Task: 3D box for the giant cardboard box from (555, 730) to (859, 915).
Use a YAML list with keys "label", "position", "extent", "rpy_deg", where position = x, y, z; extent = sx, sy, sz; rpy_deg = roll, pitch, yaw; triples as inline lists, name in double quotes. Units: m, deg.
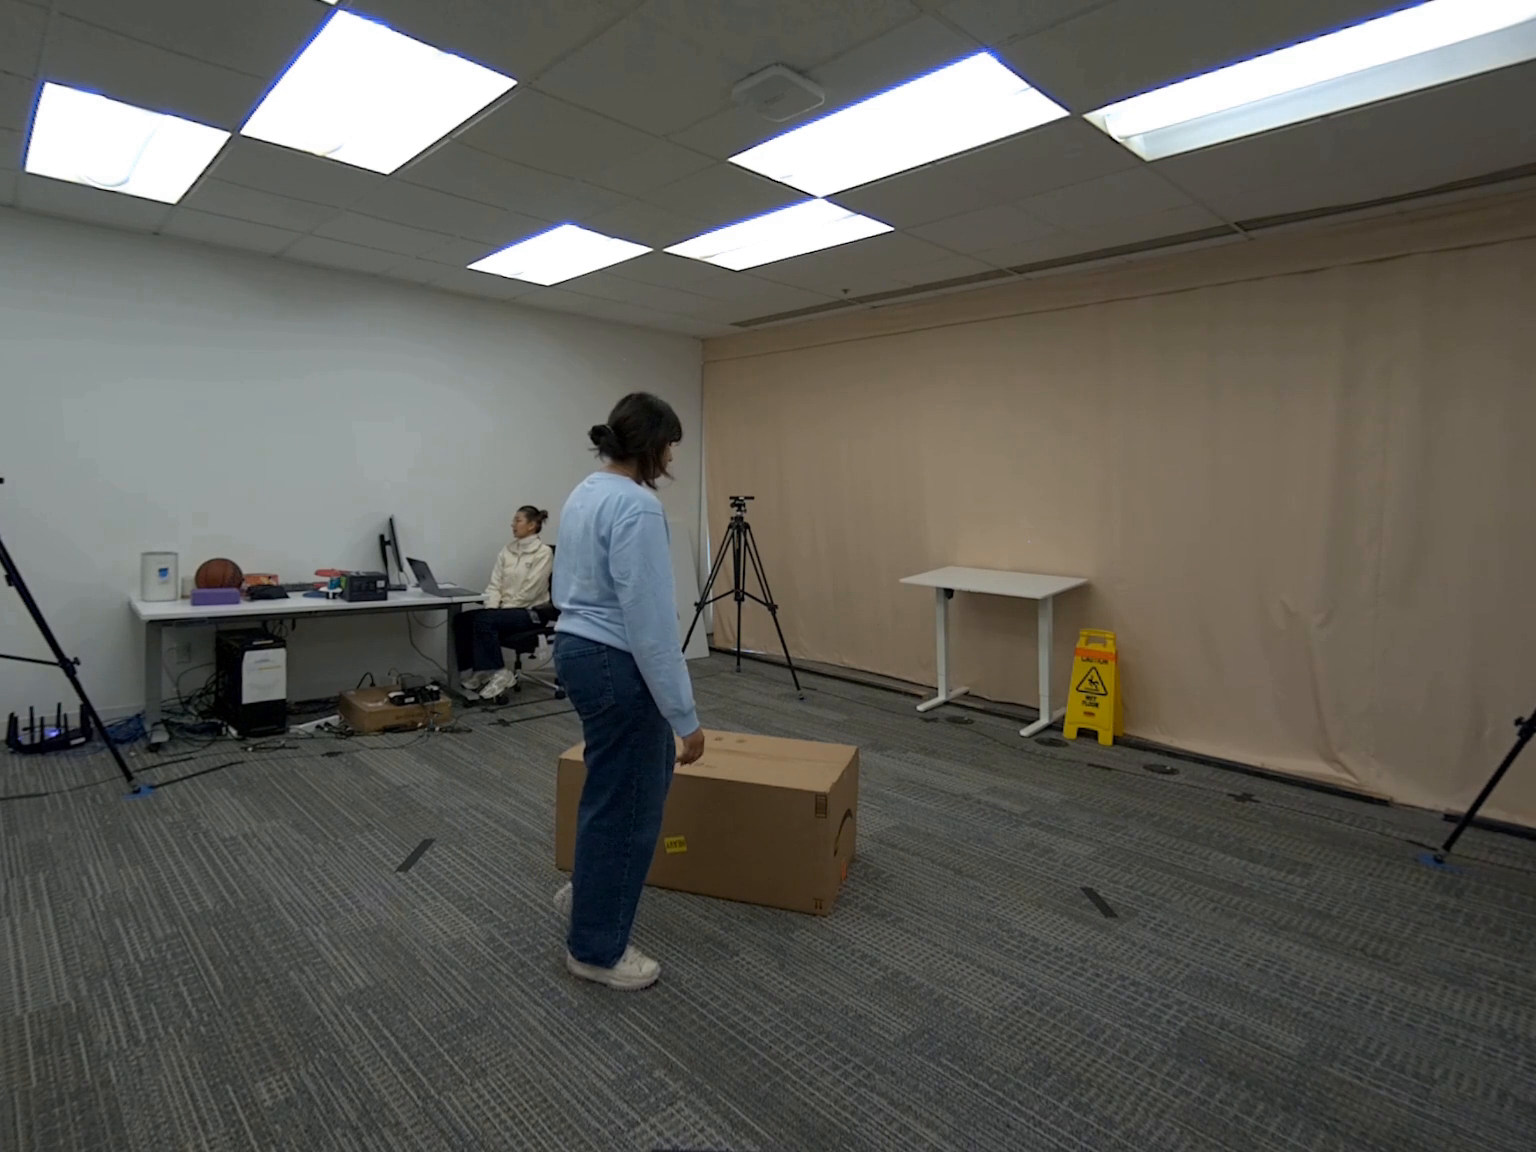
- label: "giant cardboard box"
  position: [-0.215, 0.875, 3.215]
  extent: [1.041, 0.425, 0.571]
  rpy_deg: [3, 5, 18]
